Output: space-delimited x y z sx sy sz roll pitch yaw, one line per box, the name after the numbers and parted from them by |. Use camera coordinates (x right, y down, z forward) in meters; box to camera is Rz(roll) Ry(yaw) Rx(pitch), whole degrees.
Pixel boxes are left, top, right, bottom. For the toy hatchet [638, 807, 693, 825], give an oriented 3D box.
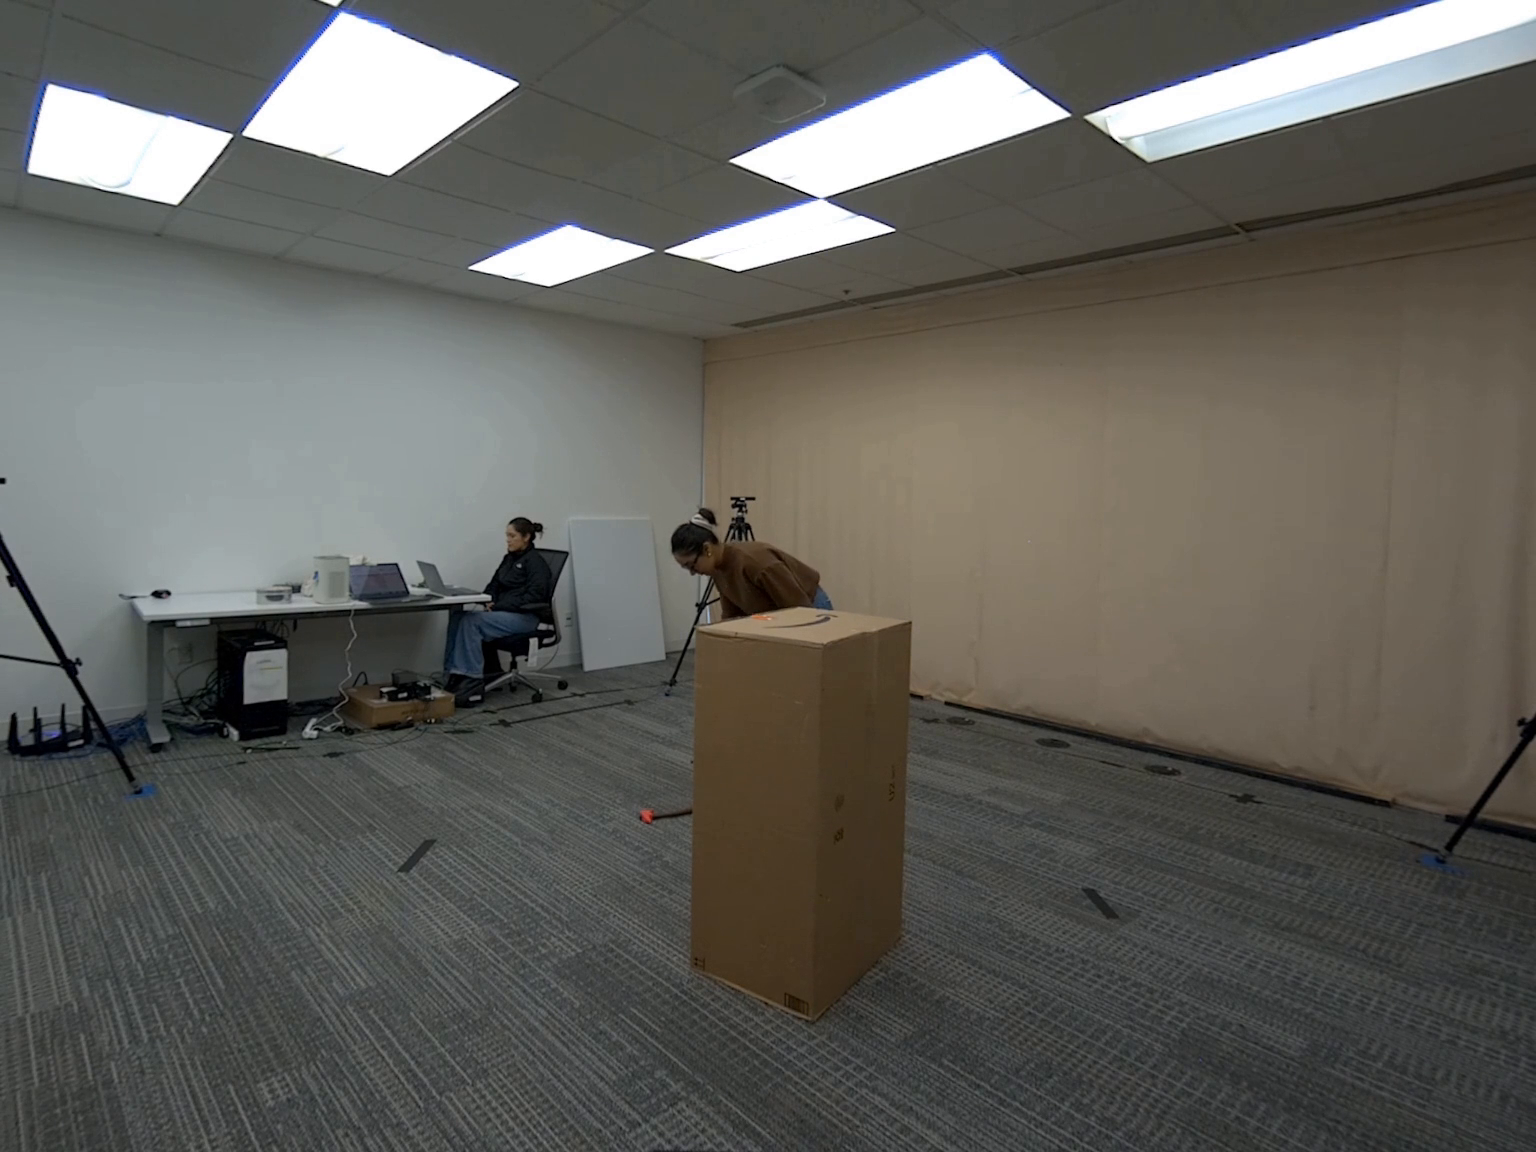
-0.464 1.040 3.699 0.264 0.029 0.134 -1 4 -41 | toy hatchet
